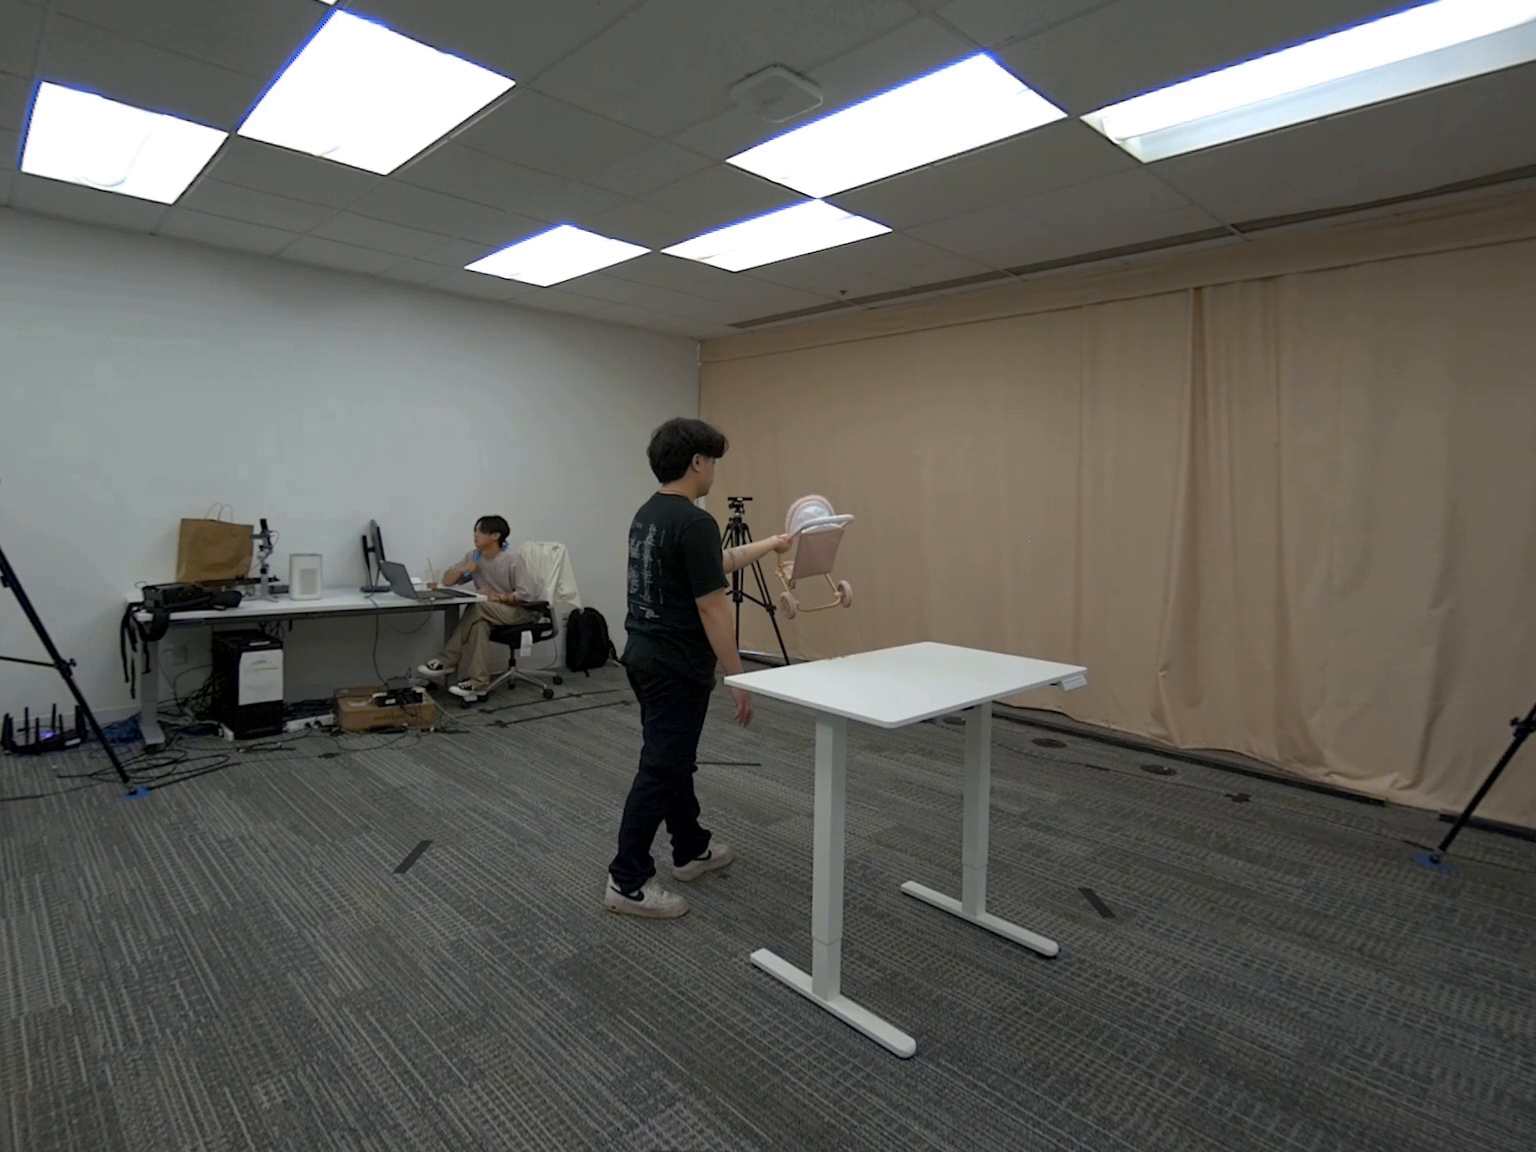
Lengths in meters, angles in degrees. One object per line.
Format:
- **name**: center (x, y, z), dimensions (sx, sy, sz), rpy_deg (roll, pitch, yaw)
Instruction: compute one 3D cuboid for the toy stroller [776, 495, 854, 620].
- **toy stroller**: center (0.155, -0.089, 3.321), dimensions (0.278, 0.524, 0.351), rpy_deg (-7, 36, -15)
